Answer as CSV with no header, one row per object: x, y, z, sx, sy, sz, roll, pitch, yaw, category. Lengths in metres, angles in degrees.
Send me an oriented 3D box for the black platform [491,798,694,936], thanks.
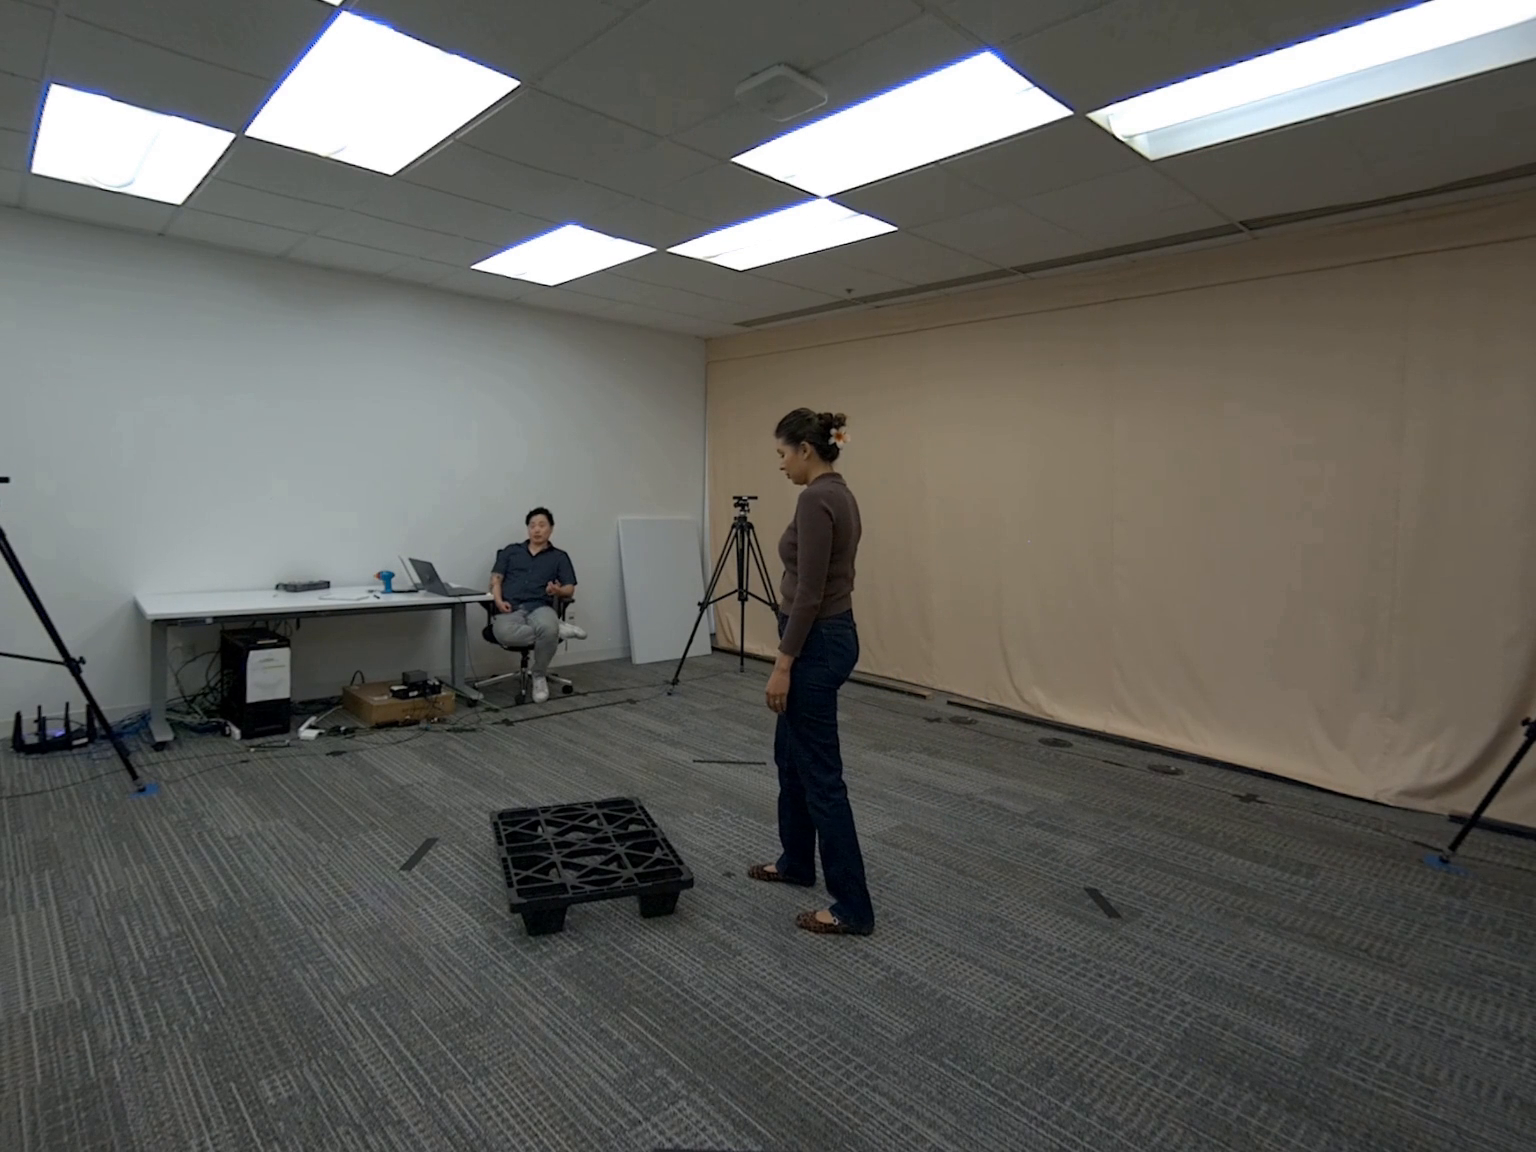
-0.673,1.030,3.058,0.595,0.143,0.821,0,6,-22,black platform
